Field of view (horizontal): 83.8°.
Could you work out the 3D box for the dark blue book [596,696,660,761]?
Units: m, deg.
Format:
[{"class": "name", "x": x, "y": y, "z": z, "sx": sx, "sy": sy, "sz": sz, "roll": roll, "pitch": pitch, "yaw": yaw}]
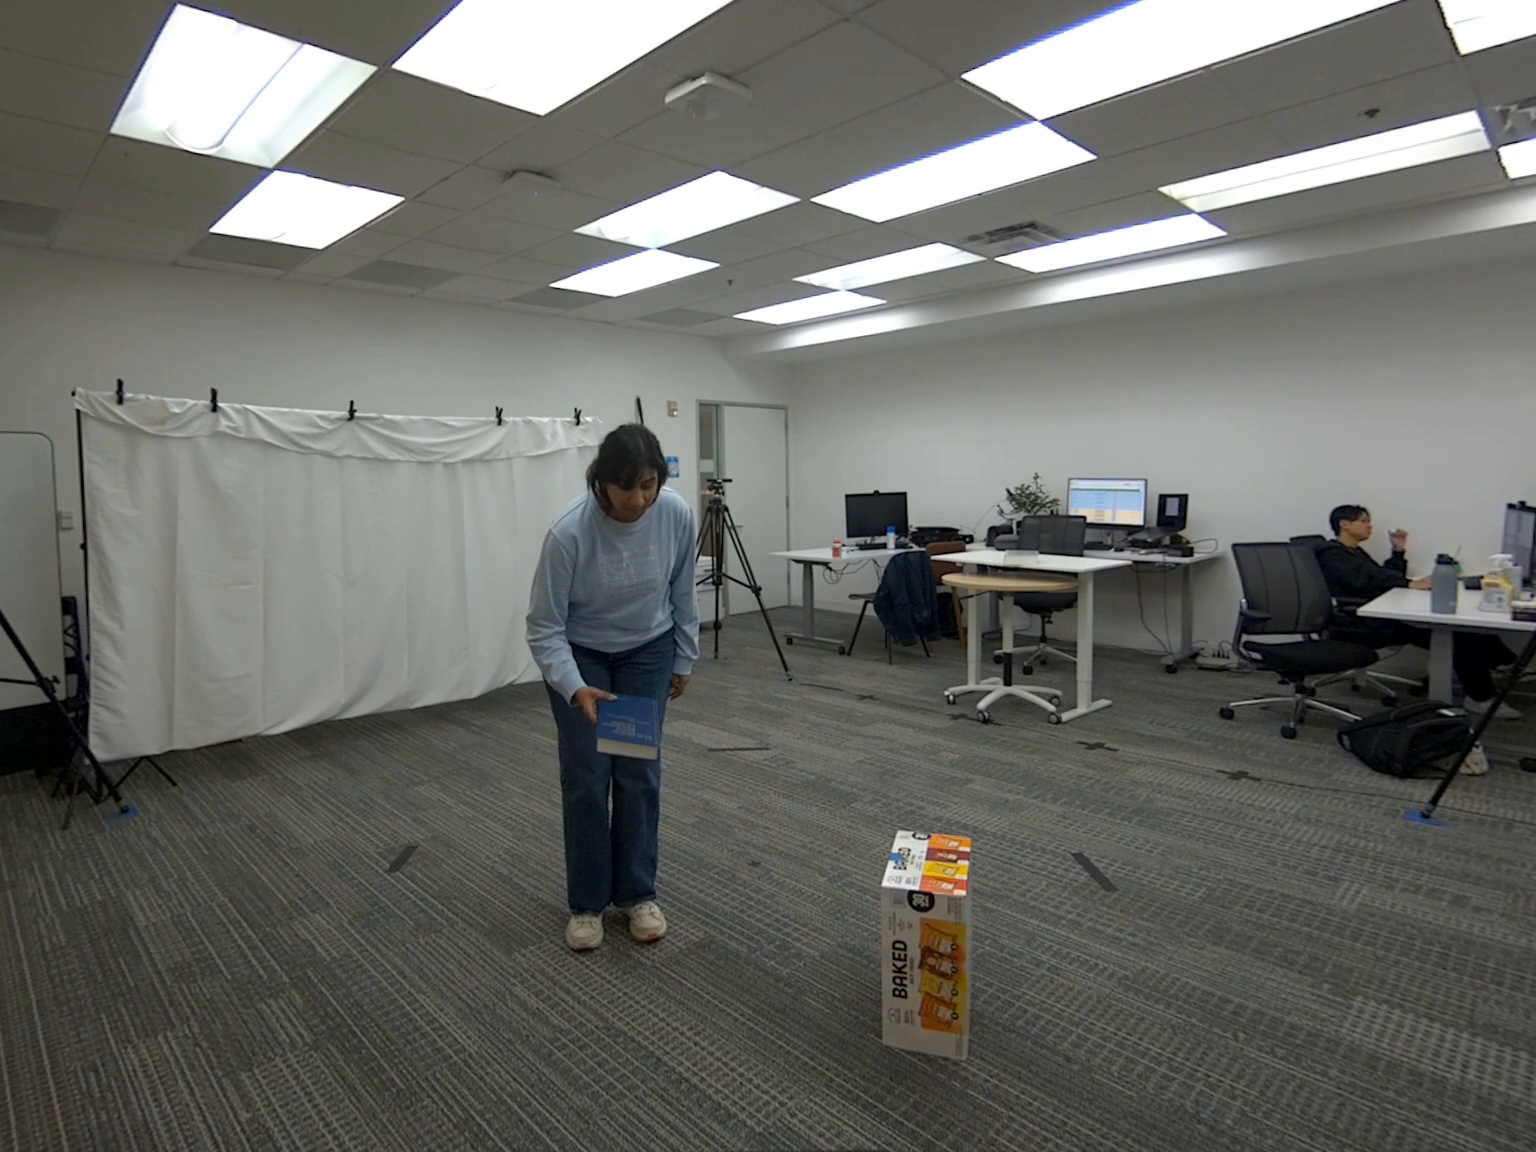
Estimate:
[{"class": "dark blue book", "x": -0.375, "y": 0.397, "z": 2.261, "sx": 0.162, "sy": 0.044, "sz": 0.250, "roll": 9, "pitch": 19, "yaw": -8}]
